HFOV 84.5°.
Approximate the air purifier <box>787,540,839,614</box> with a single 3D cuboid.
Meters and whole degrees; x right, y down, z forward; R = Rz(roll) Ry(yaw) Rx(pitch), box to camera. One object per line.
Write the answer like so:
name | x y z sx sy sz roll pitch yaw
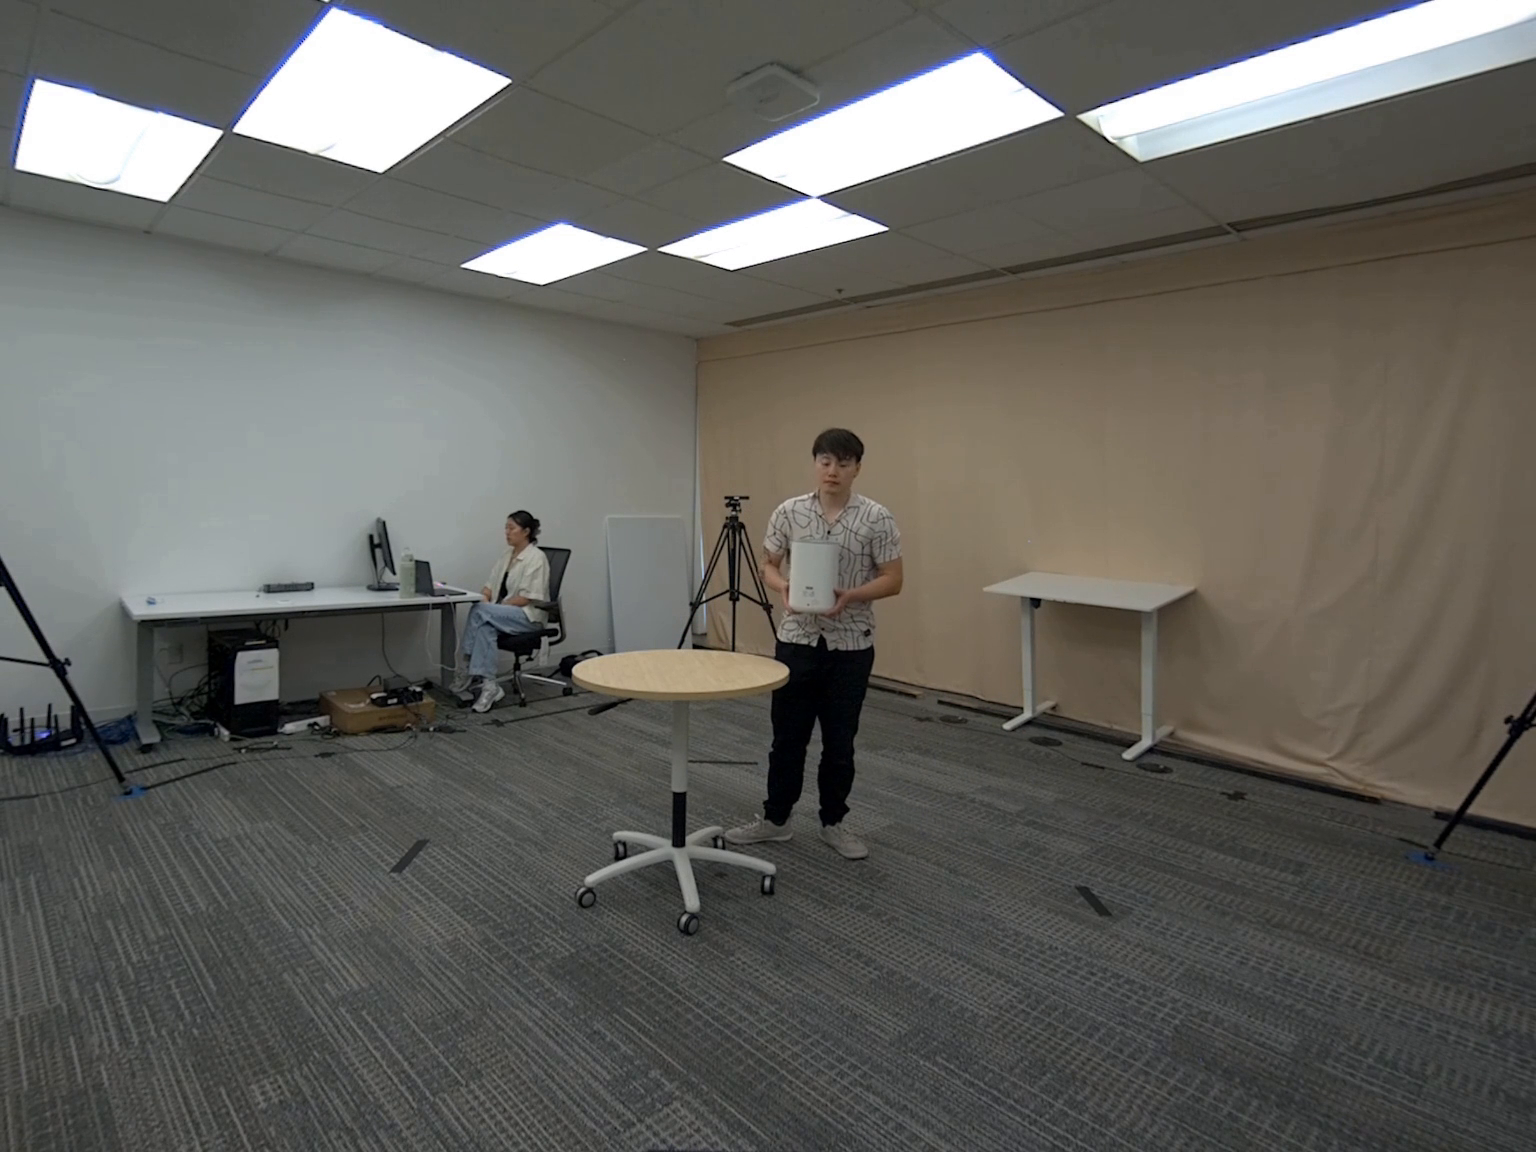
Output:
air purifier | 0.155 0.001 3.135 0.173 0.265 0.170 5 4 14
